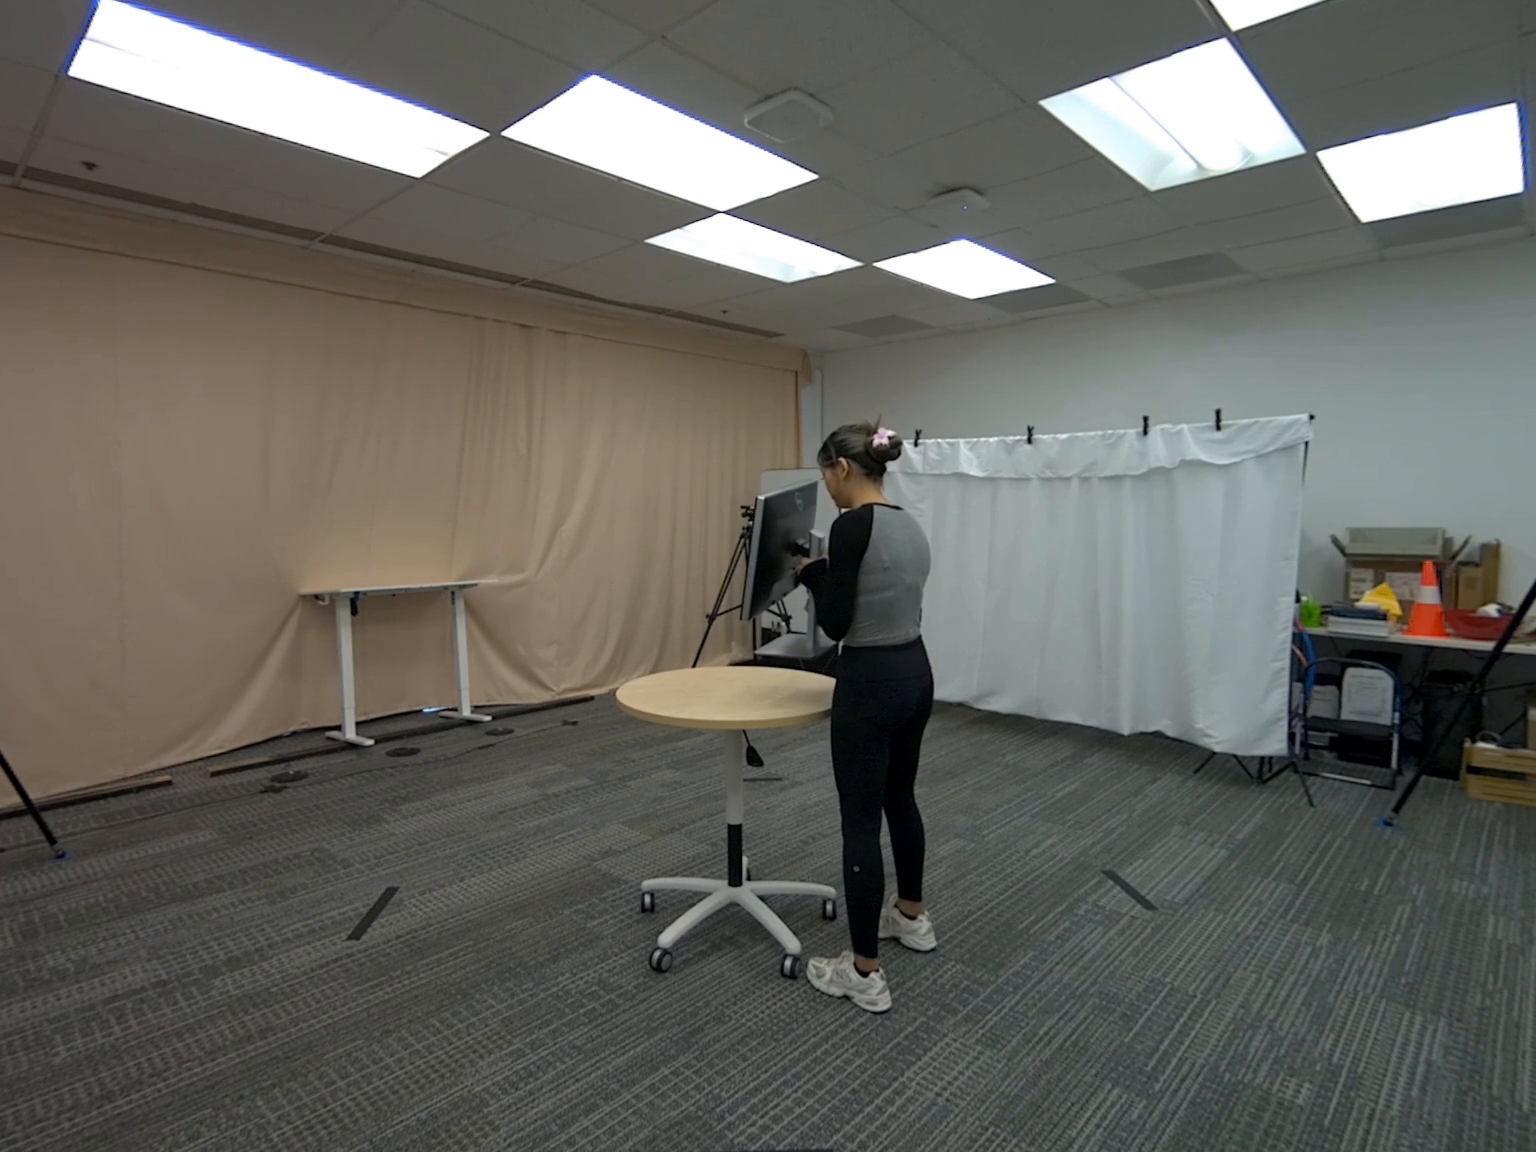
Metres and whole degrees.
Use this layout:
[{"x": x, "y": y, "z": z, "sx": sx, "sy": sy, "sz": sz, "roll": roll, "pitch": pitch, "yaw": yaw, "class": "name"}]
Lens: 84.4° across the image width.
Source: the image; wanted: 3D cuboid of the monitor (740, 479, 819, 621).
[{"x": 0.092, "y": -0.018, "z": 2.597, "sx": 0.191, "sy": 0.519, "sz": 0.532, "roll": -1, "pitch": 10, "yaw": 18, "class": "monitor"}]
